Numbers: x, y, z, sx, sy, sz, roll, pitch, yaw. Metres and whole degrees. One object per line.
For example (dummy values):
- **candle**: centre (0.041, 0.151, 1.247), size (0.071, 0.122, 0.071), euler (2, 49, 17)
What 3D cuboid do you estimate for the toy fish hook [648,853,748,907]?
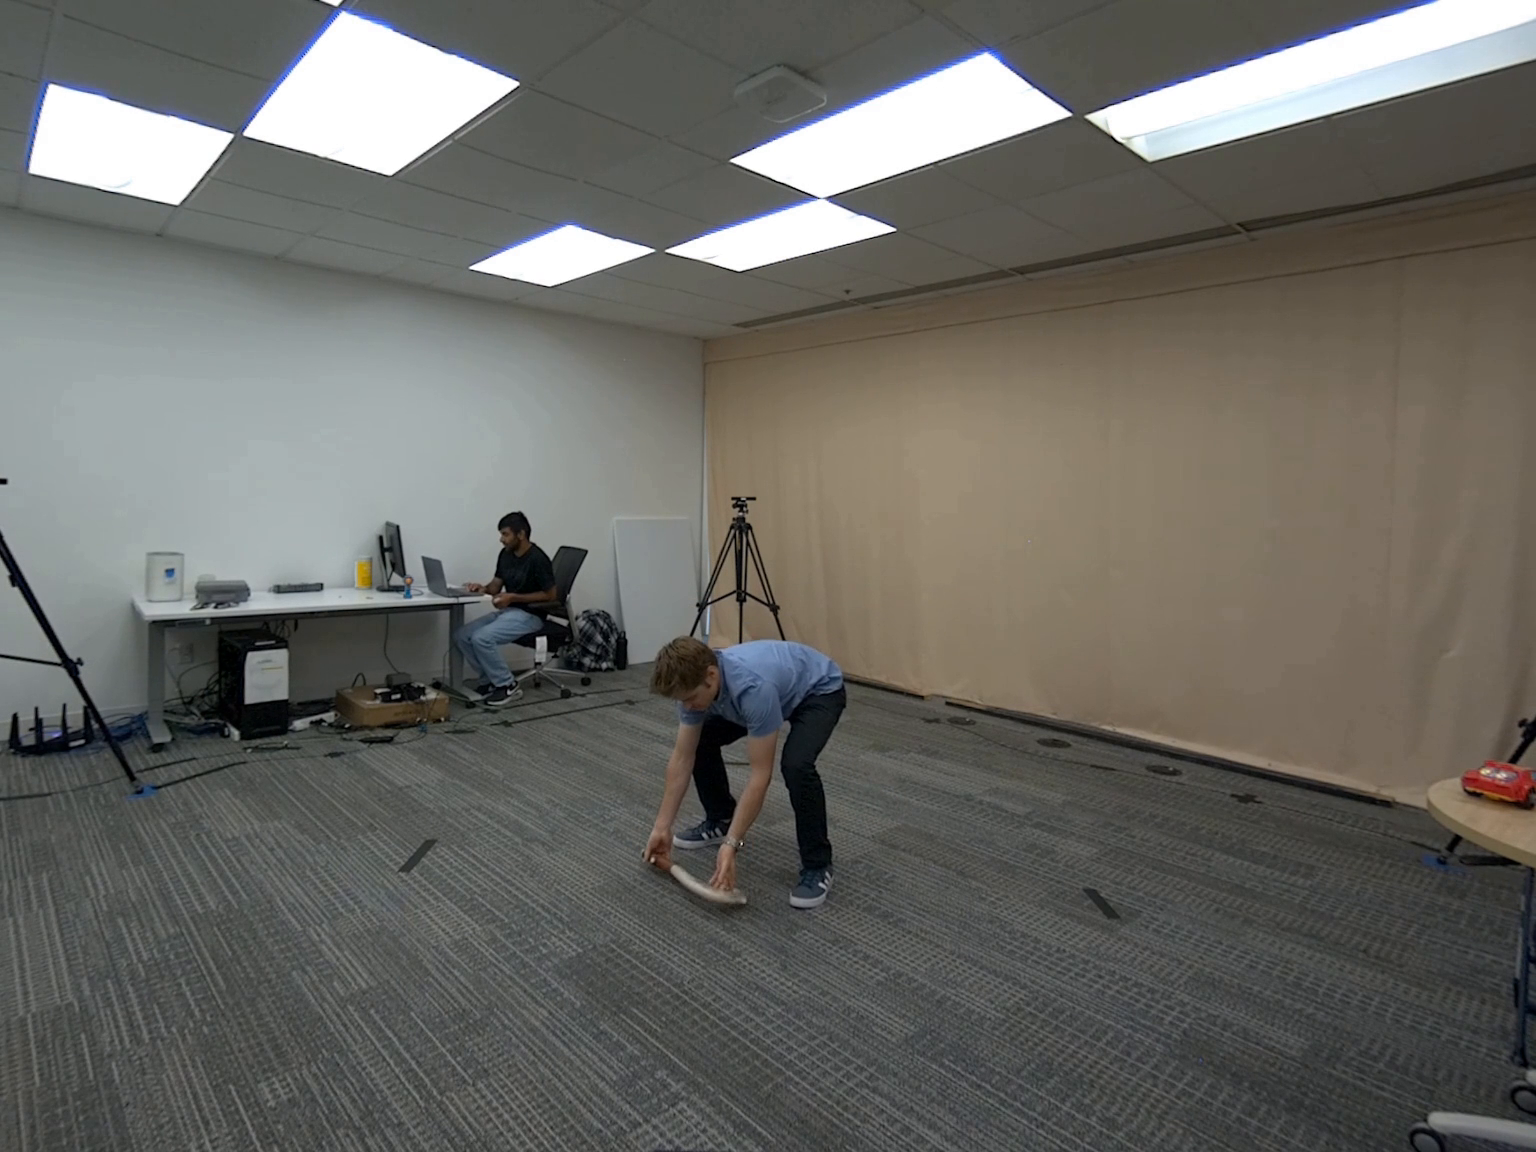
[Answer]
- **toy fish hook**: centre (-0.269, 1.077, 3.005), size (0.218, 0.048, 0.519), euler (27, -13, -36)
